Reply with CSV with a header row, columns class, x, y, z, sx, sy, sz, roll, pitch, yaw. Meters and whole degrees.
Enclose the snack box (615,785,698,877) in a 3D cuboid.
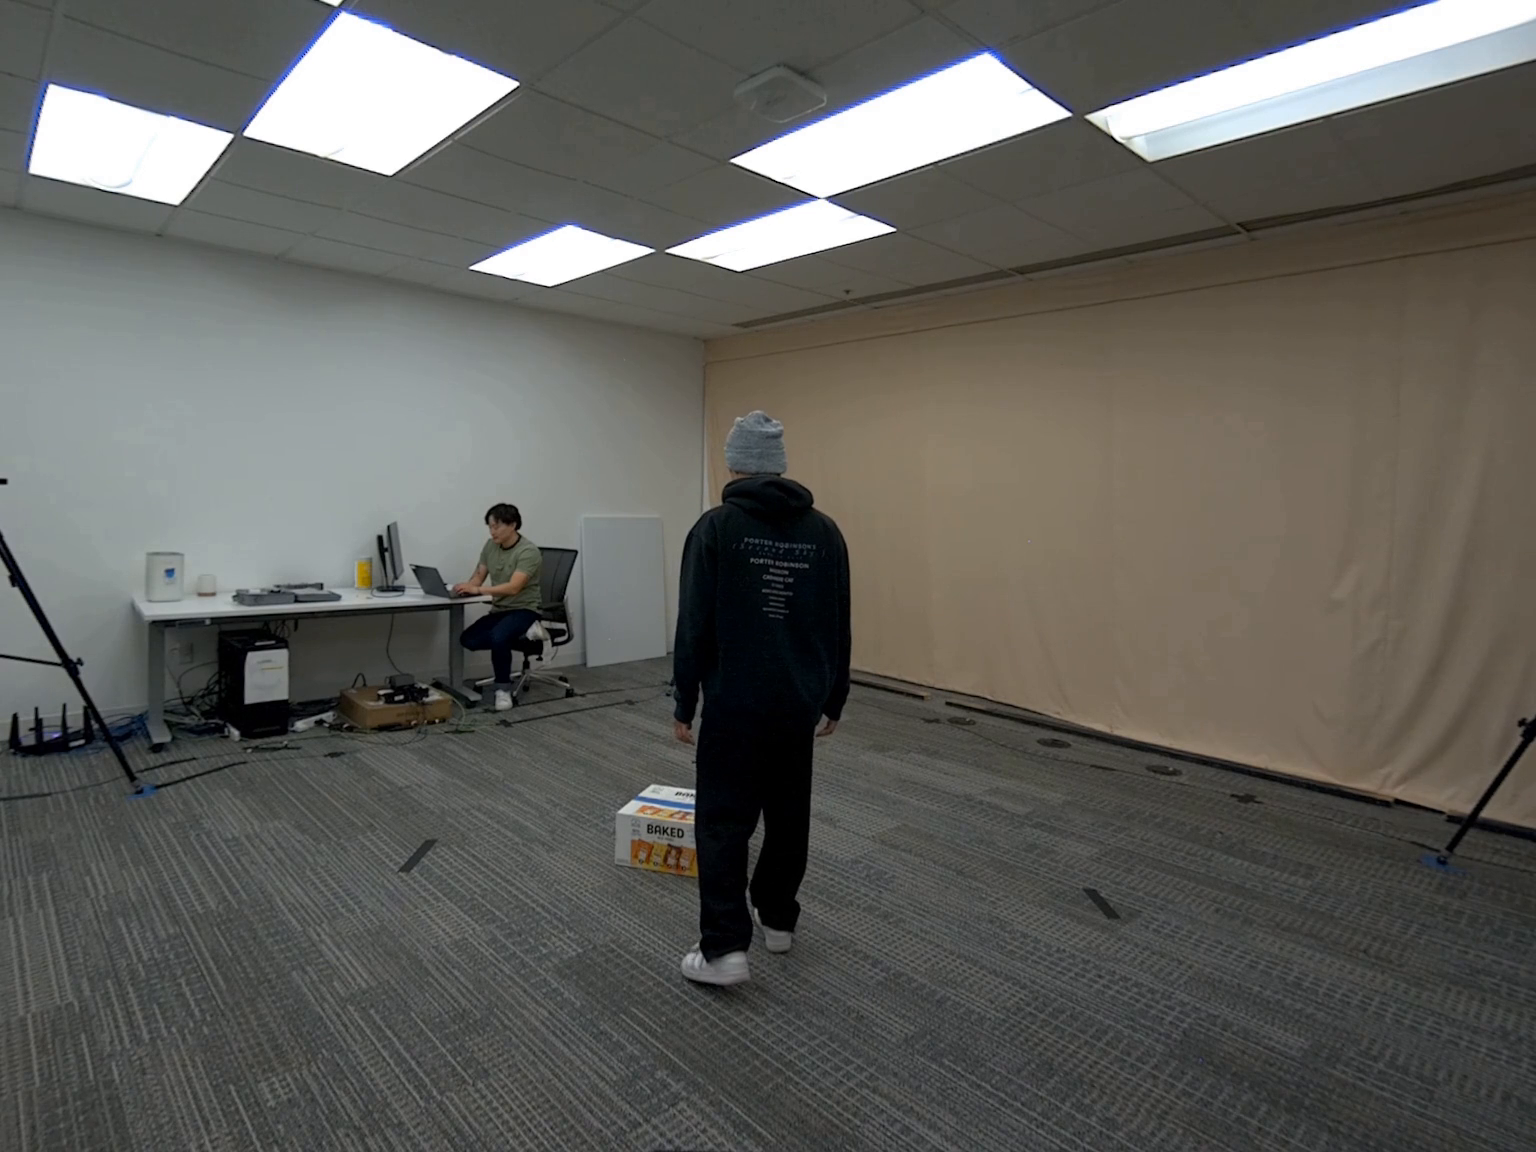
class,x,y,z,sx,sy,sz,roll,pitch,yaw
snack box,-0.342,0.986,3.267,0.411,0.205,0.337,3,5,16
